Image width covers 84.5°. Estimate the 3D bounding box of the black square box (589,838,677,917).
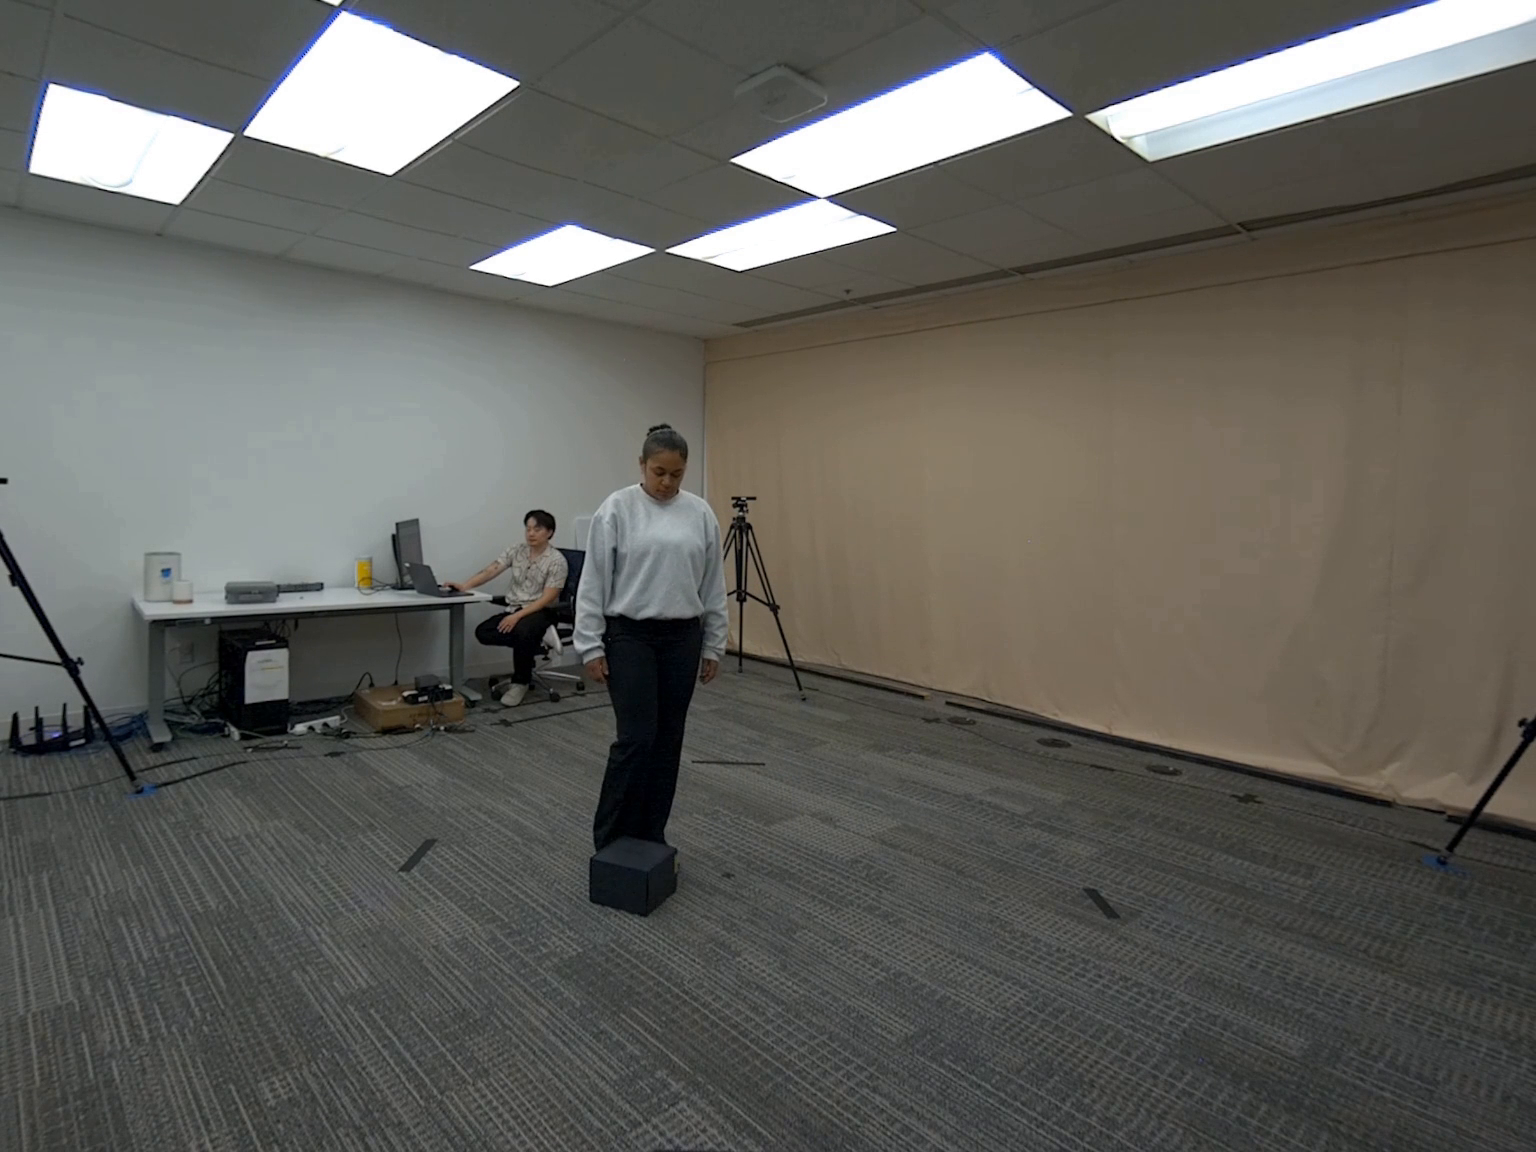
[{"bbox_3d":[-0.461,1.037,2.899,0.232,0.155,0.214,3,5,22],"label":"black square box"}]
